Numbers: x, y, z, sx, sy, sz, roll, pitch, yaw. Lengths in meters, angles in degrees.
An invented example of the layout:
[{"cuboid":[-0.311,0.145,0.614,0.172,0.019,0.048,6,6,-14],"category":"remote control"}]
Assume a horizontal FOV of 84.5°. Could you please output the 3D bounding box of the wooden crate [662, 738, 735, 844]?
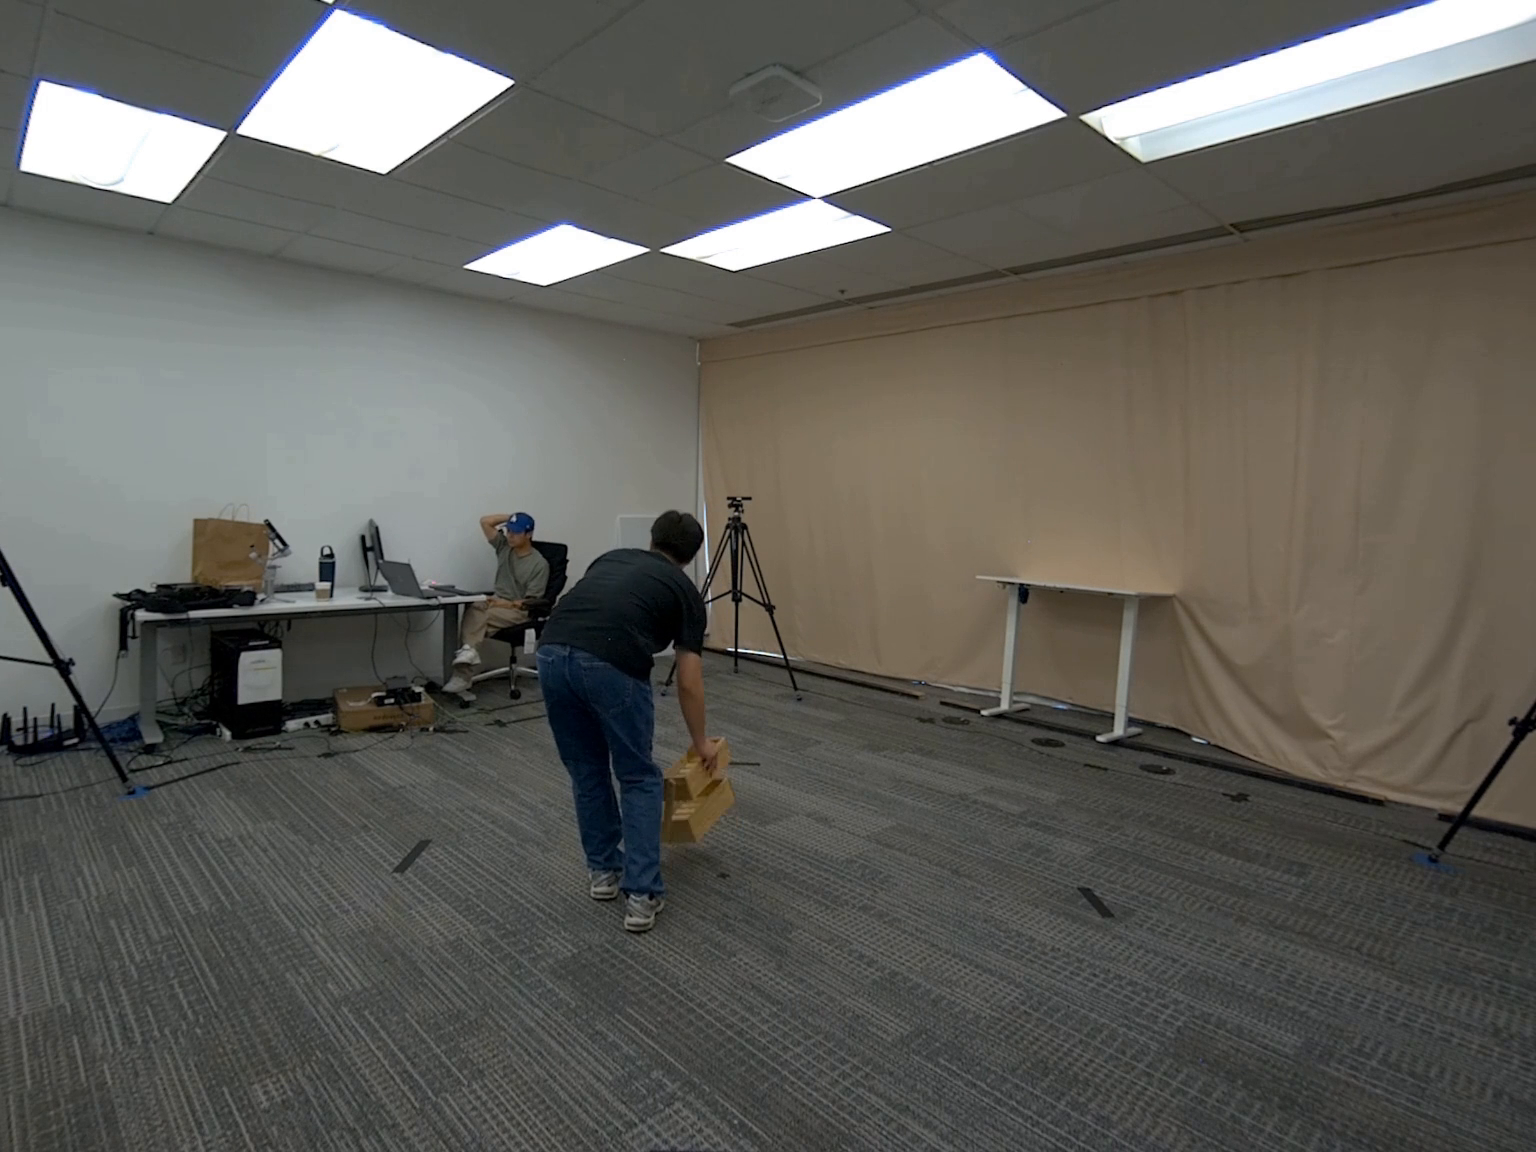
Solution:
[{"cuboid":[-0.325,0.798,3.202,0.307,0.271,0.321,-11,11,31],"category":"wooden crate"}]
